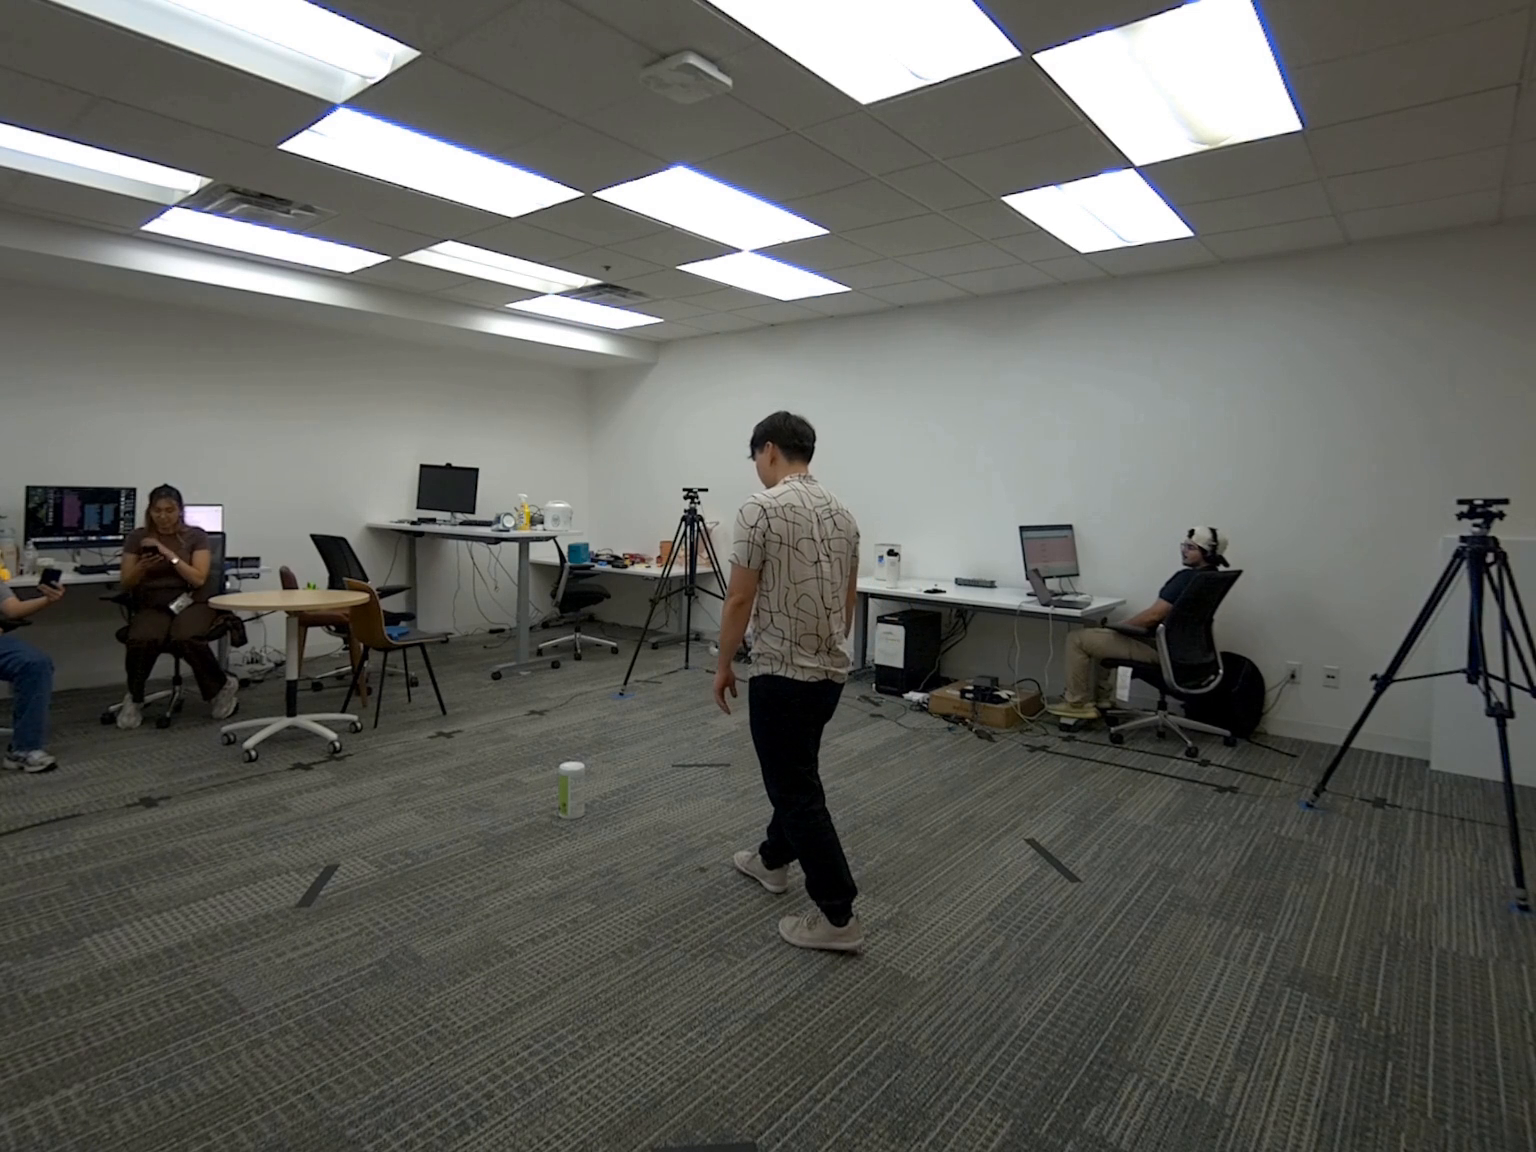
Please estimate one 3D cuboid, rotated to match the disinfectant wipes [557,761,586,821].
[{"bbox_3d":[-0.844,0.908,3.603,0.118,0.216,0.118,1,4,-2],"label":"disinfectant wipes"}]
